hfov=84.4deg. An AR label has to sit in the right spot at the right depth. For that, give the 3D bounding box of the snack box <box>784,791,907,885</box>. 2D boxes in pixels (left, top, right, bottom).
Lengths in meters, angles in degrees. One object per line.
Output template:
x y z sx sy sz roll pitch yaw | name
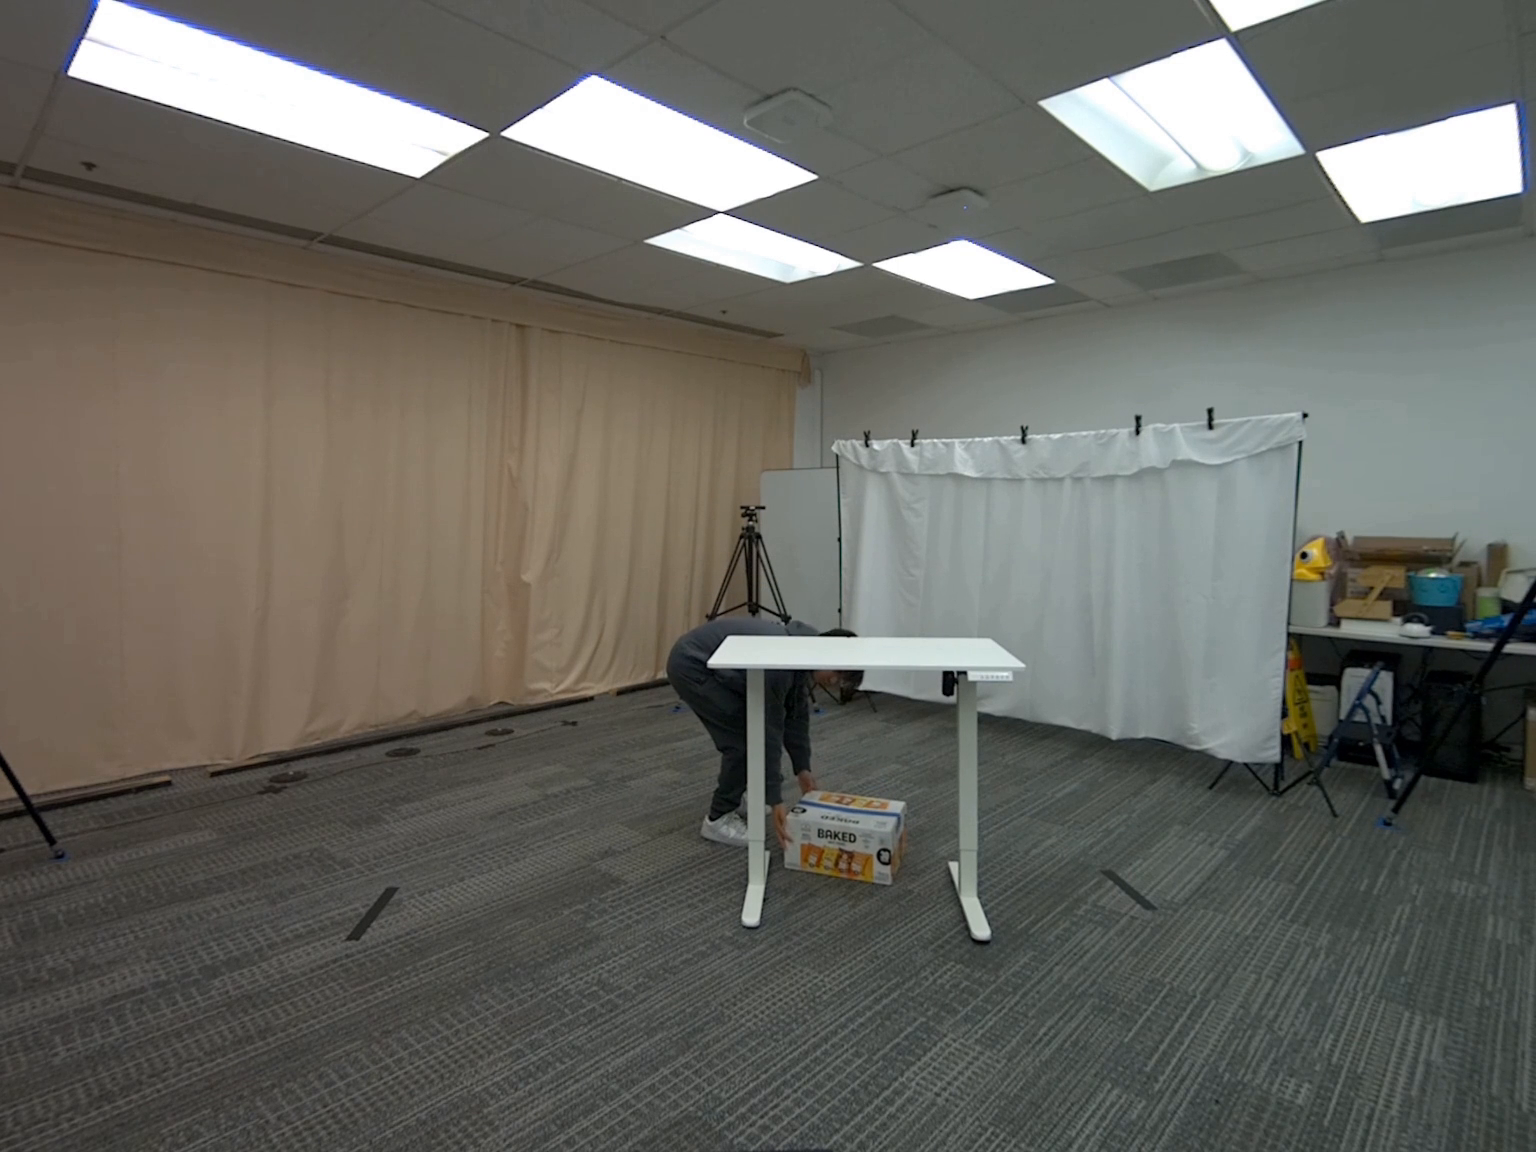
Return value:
0.313 1.012 3.300 0.414 0.205 0.334 2 4 20 | snack box
